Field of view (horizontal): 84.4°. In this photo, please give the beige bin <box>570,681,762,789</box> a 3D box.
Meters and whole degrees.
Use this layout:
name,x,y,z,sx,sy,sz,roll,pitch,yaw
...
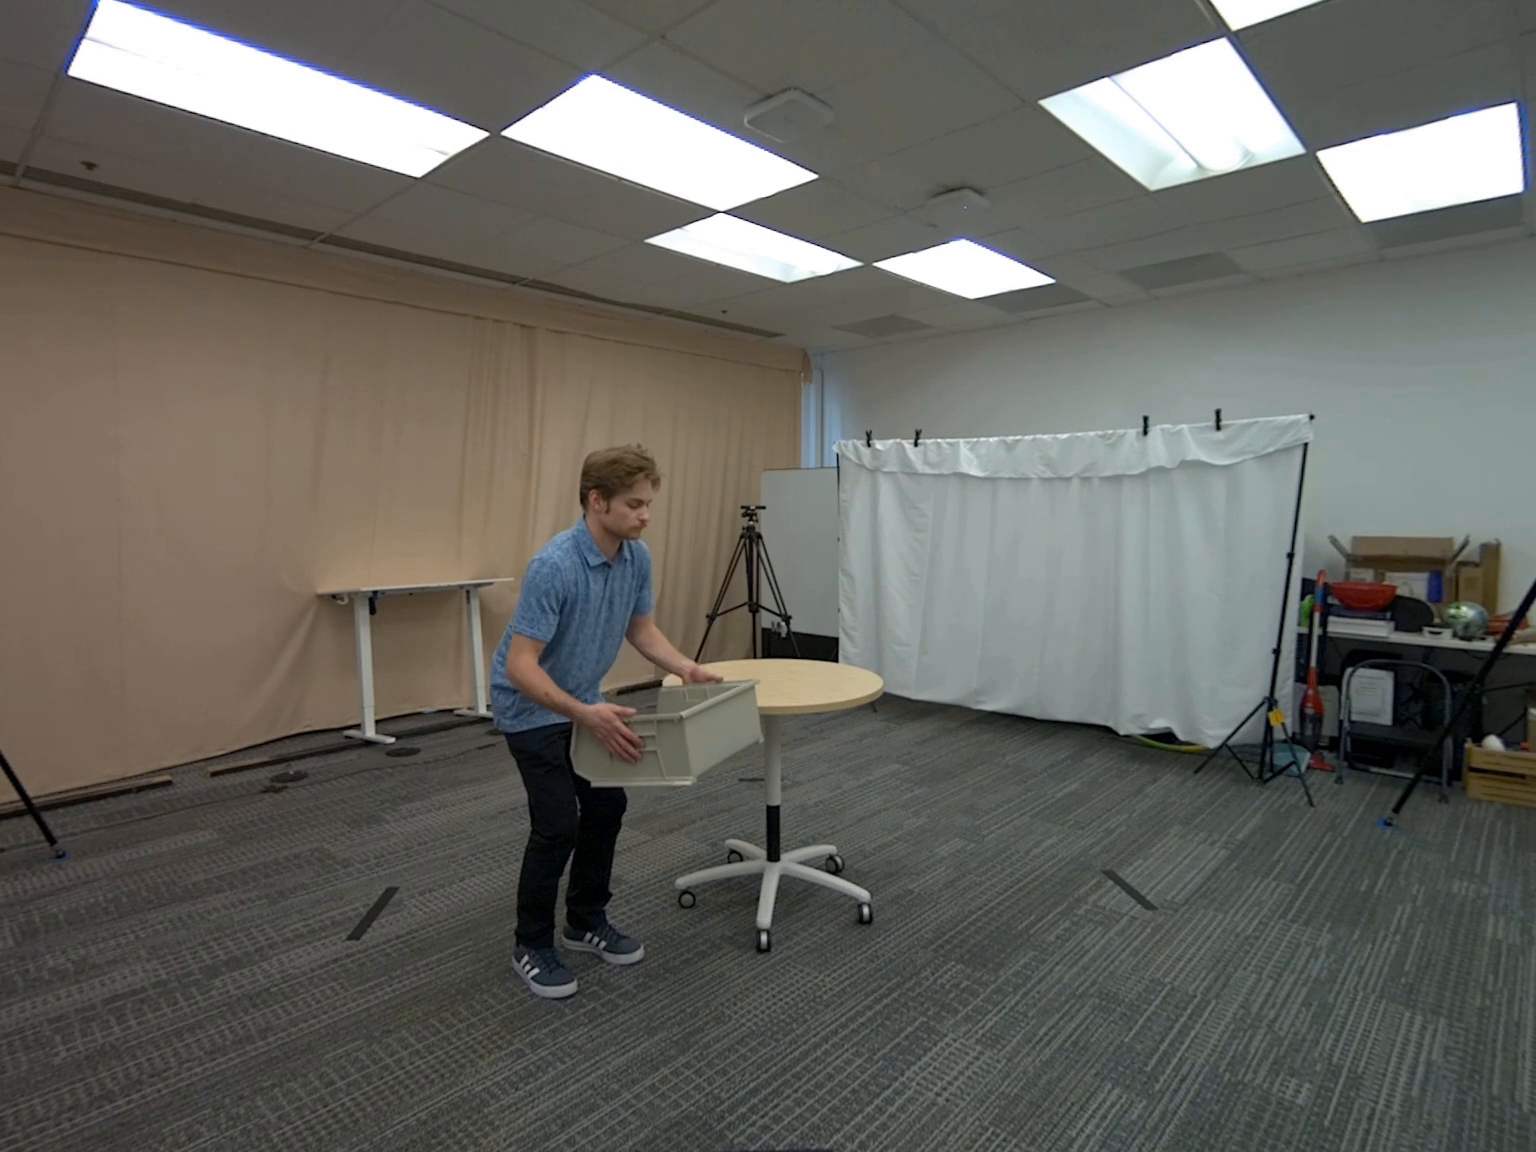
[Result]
name,x,y,z,sx,sy,sz,roll,pitch,yaw
beige bin,-0.268,0.426,2.303,0.387,0.189,0.412,-5,3,29
